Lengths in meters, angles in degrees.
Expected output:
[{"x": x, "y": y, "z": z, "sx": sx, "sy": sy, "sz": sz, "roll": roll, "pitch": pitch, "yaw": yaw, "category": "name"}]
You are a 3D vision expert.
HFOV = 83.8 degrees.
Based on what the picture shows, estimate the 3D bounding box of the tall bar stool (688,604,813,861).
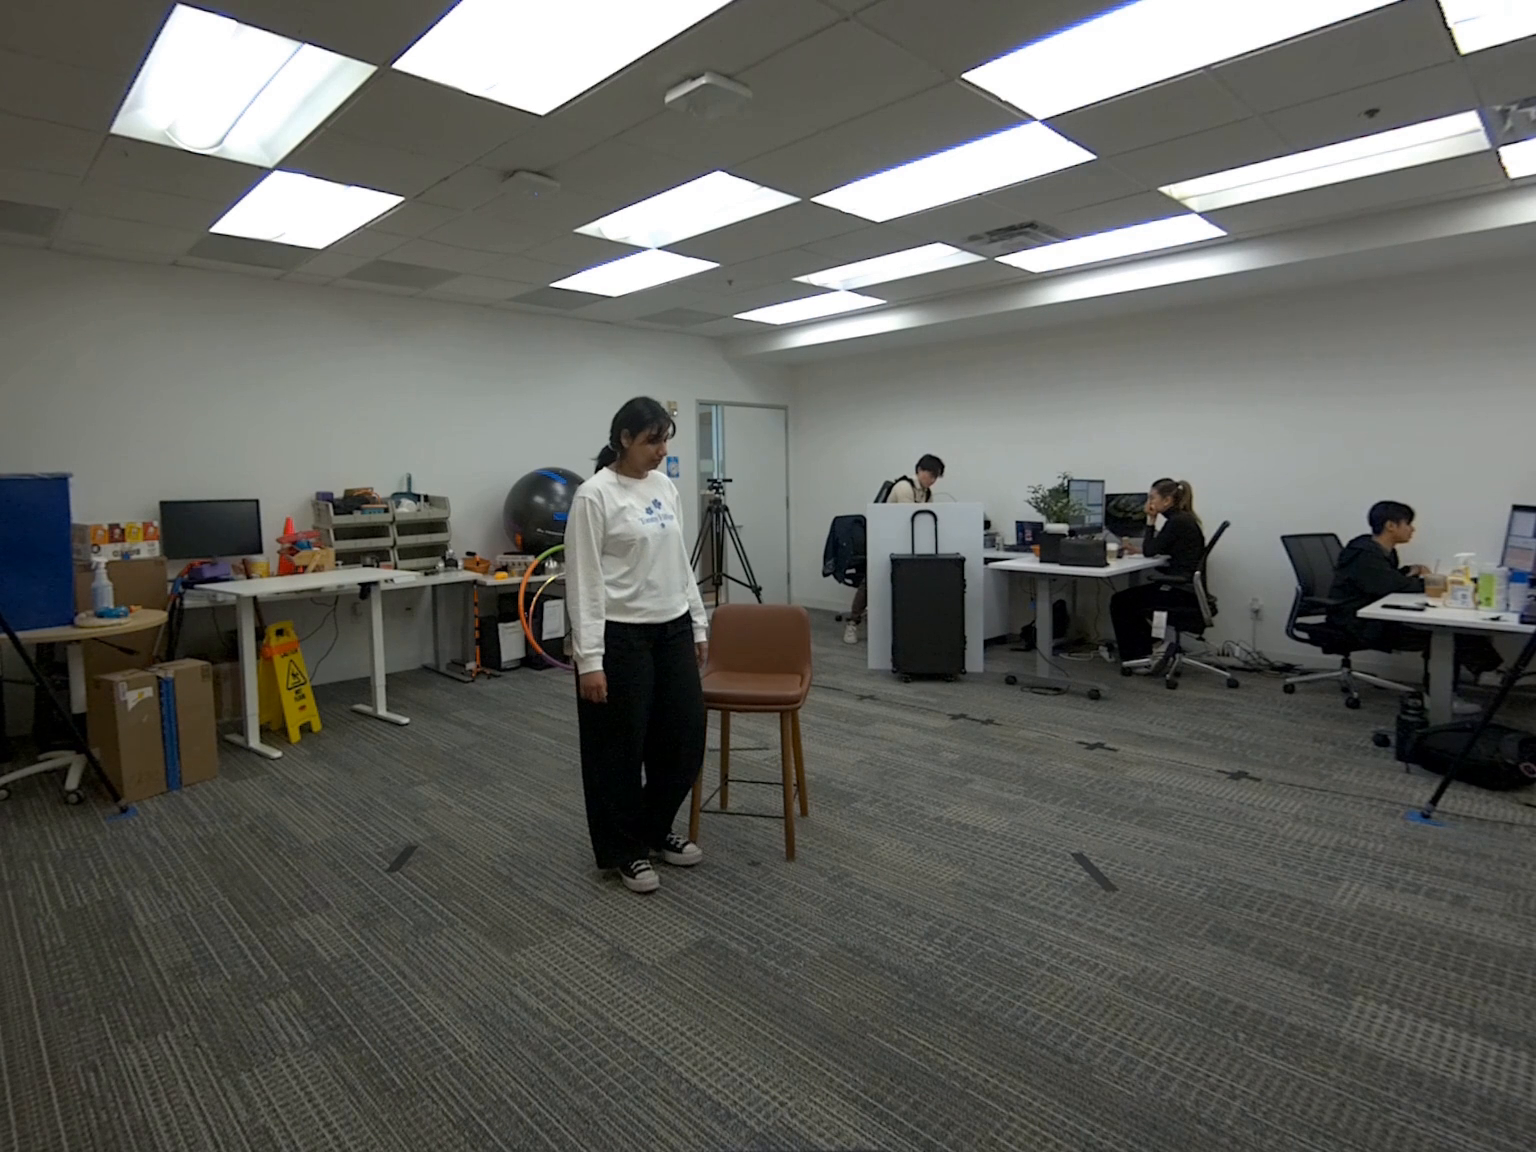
[{"x": -0.062, "y": 0.579, "z": 3.368, "sx": 0.463, "sy": 0.888, "sz": 0.462, "roll": 0, "pitch": 2, "yaw": 14, "category": "tall bar stool"}]
